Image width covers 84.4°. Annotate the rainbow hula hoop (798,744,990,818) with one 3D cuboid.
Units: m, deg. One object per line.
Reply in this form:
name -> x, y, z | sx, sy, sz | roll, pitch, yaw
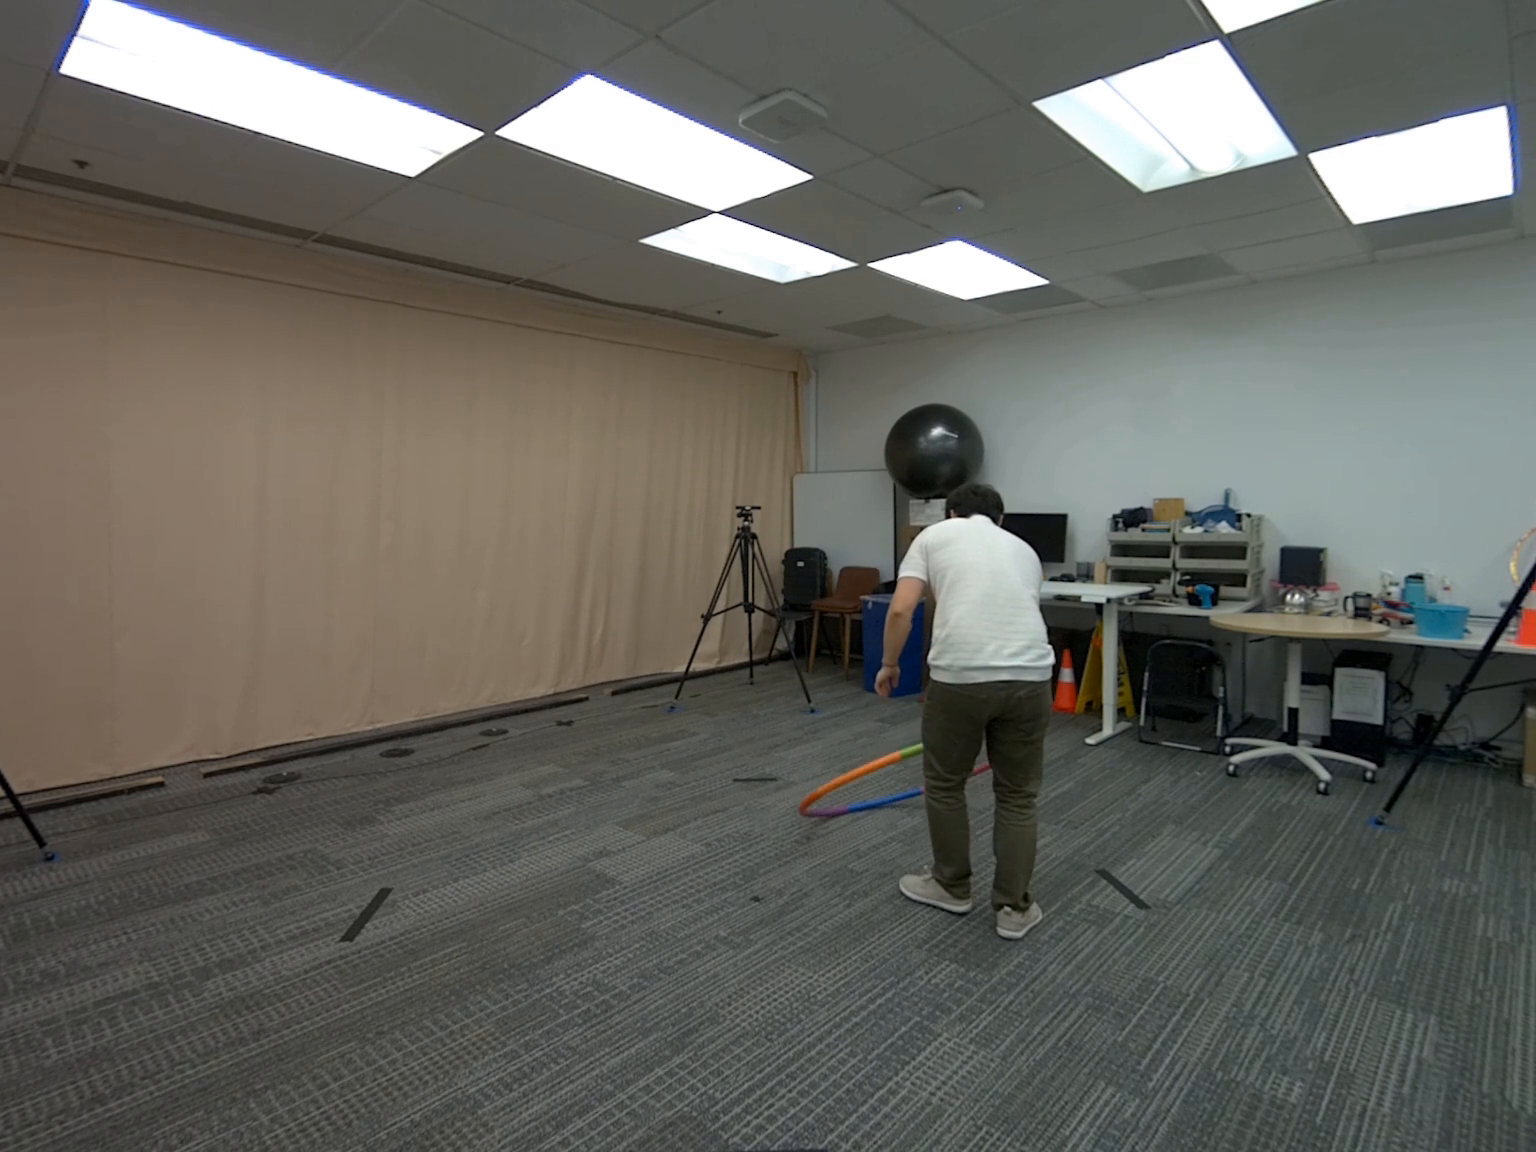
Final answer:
rainbow hula hoop -> 0.593, 0.824, 3.481 | 0.972, 0.036, 0.965 | -13, -25, -8
